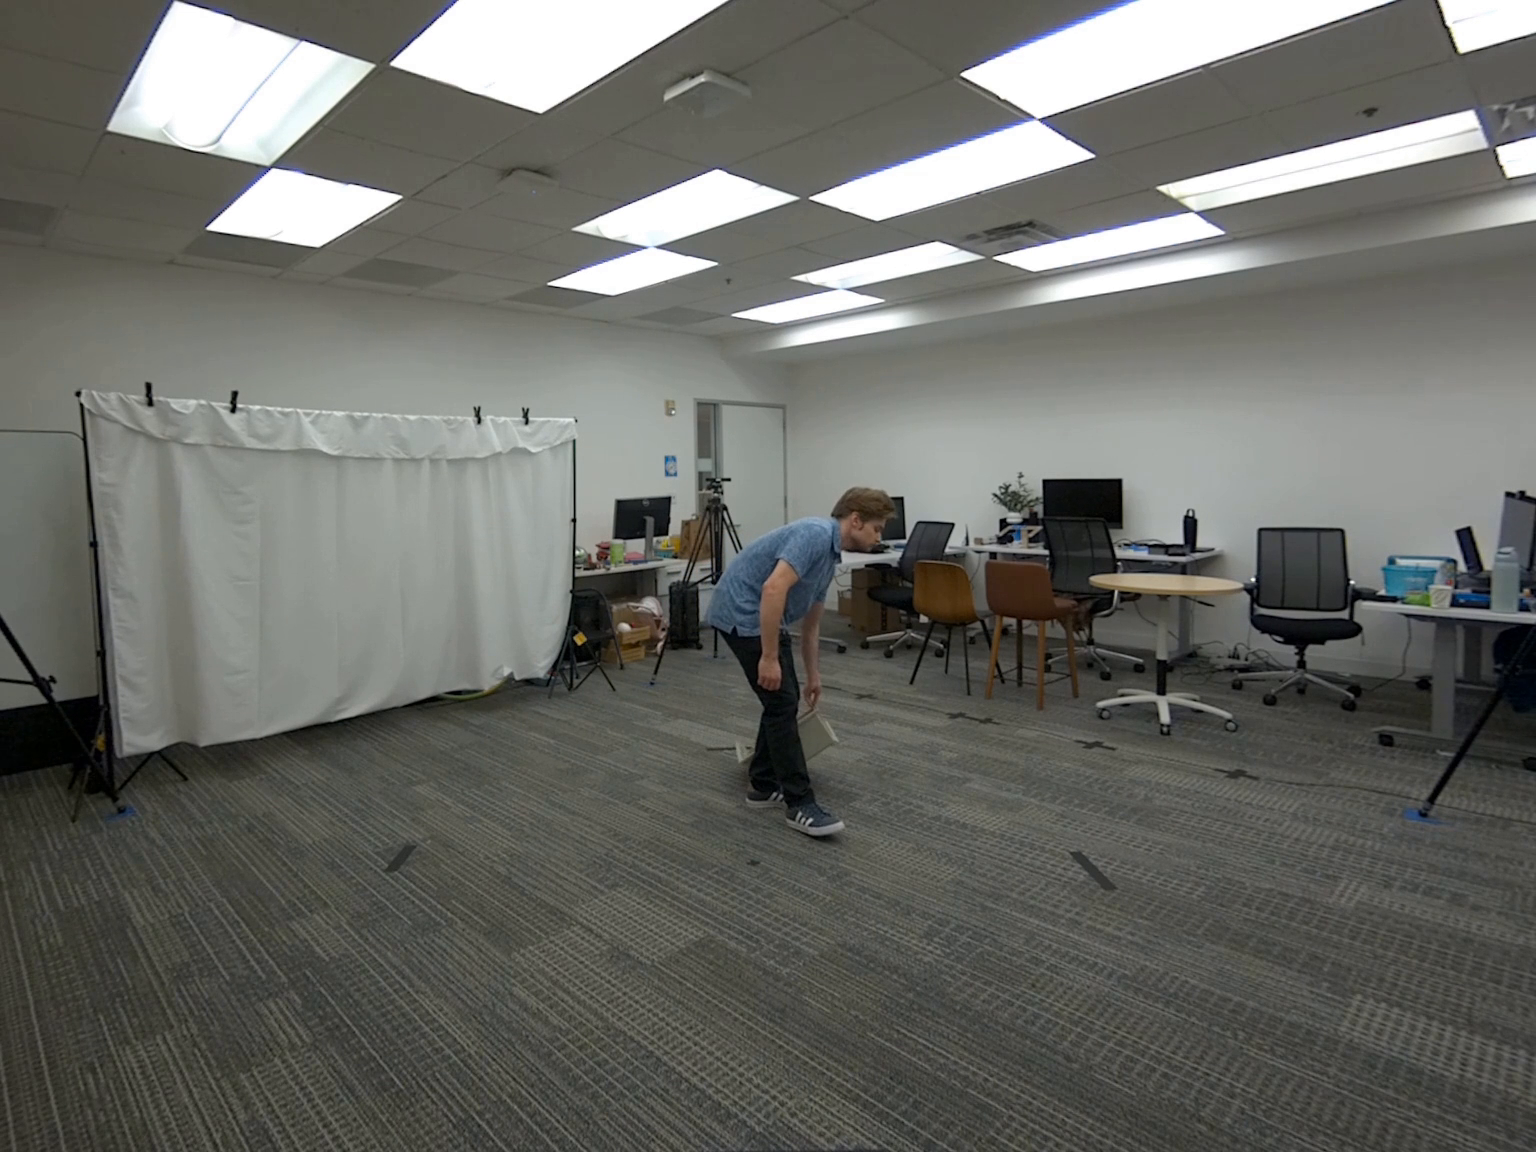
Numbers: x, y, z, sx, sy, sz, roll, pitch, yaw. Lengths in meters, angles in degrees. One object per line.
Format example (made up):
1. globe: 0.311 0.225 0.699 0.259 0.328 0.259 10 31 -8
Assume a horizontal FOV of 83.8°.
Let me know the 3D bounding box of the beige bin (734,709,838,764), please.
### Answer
1. beige bin: 0.082 0.763 3.948 0.422 0.187 0.381 -33 8 -1
